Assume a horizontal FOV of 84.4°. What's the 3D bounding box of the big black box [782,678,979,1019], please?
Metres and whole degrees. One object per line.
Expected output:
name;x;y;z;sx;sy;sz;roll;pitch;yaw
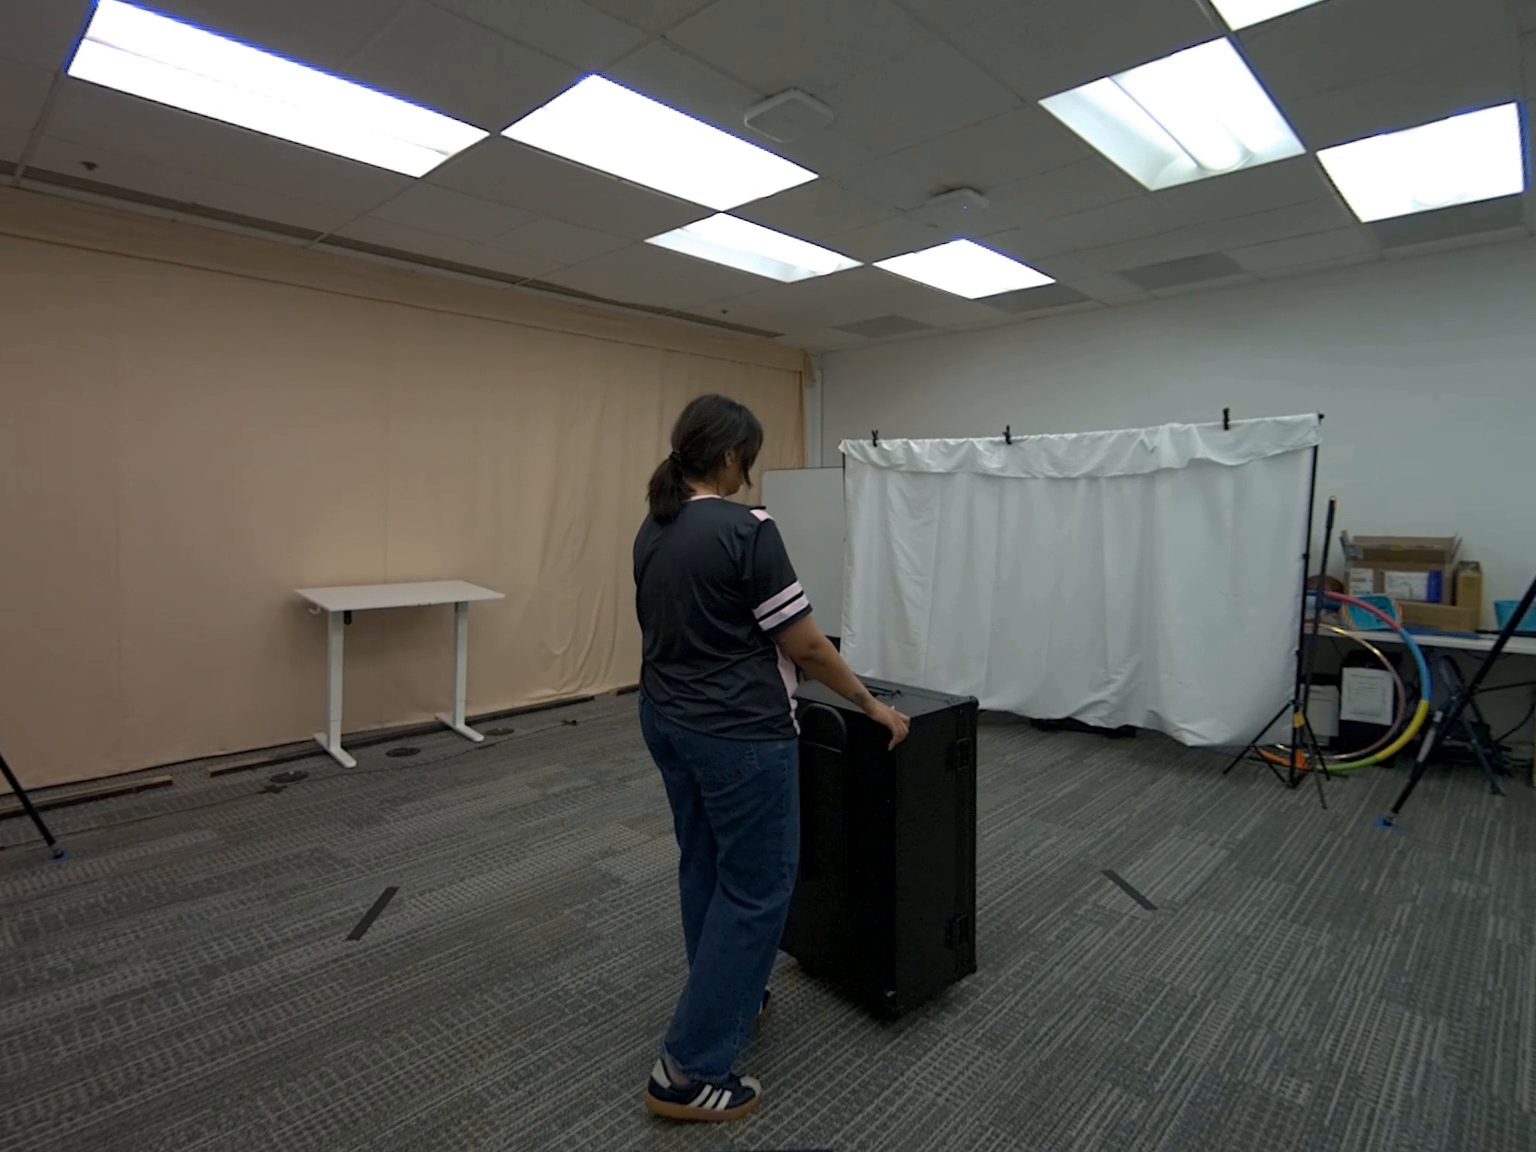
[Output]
big black box;0.311;0.769;2.434;0.374;0.866;0.541;-4;5;-41
